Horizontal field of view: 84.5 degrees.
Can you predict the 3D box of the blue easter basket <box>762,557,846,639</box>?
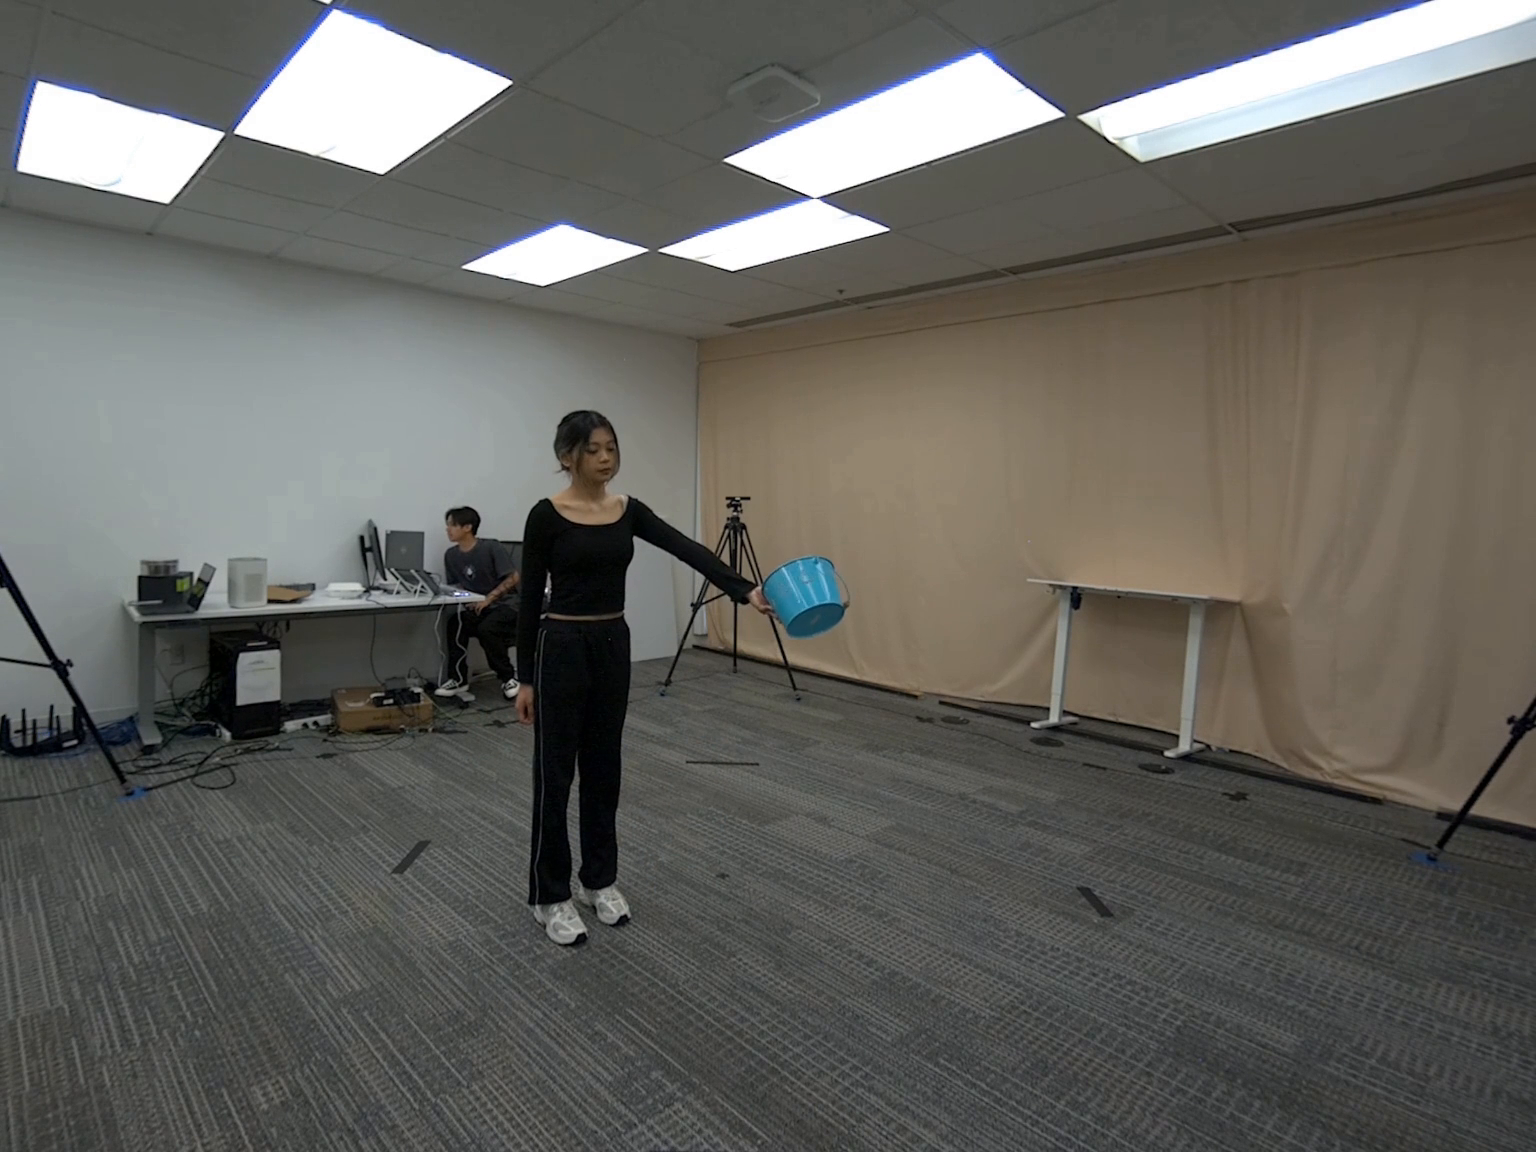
[{"bbox_3d":[0.102,0.081,2.499,0.242,0.160,0.238,-15,-34,-12],"label":"blue easter basket"}]
